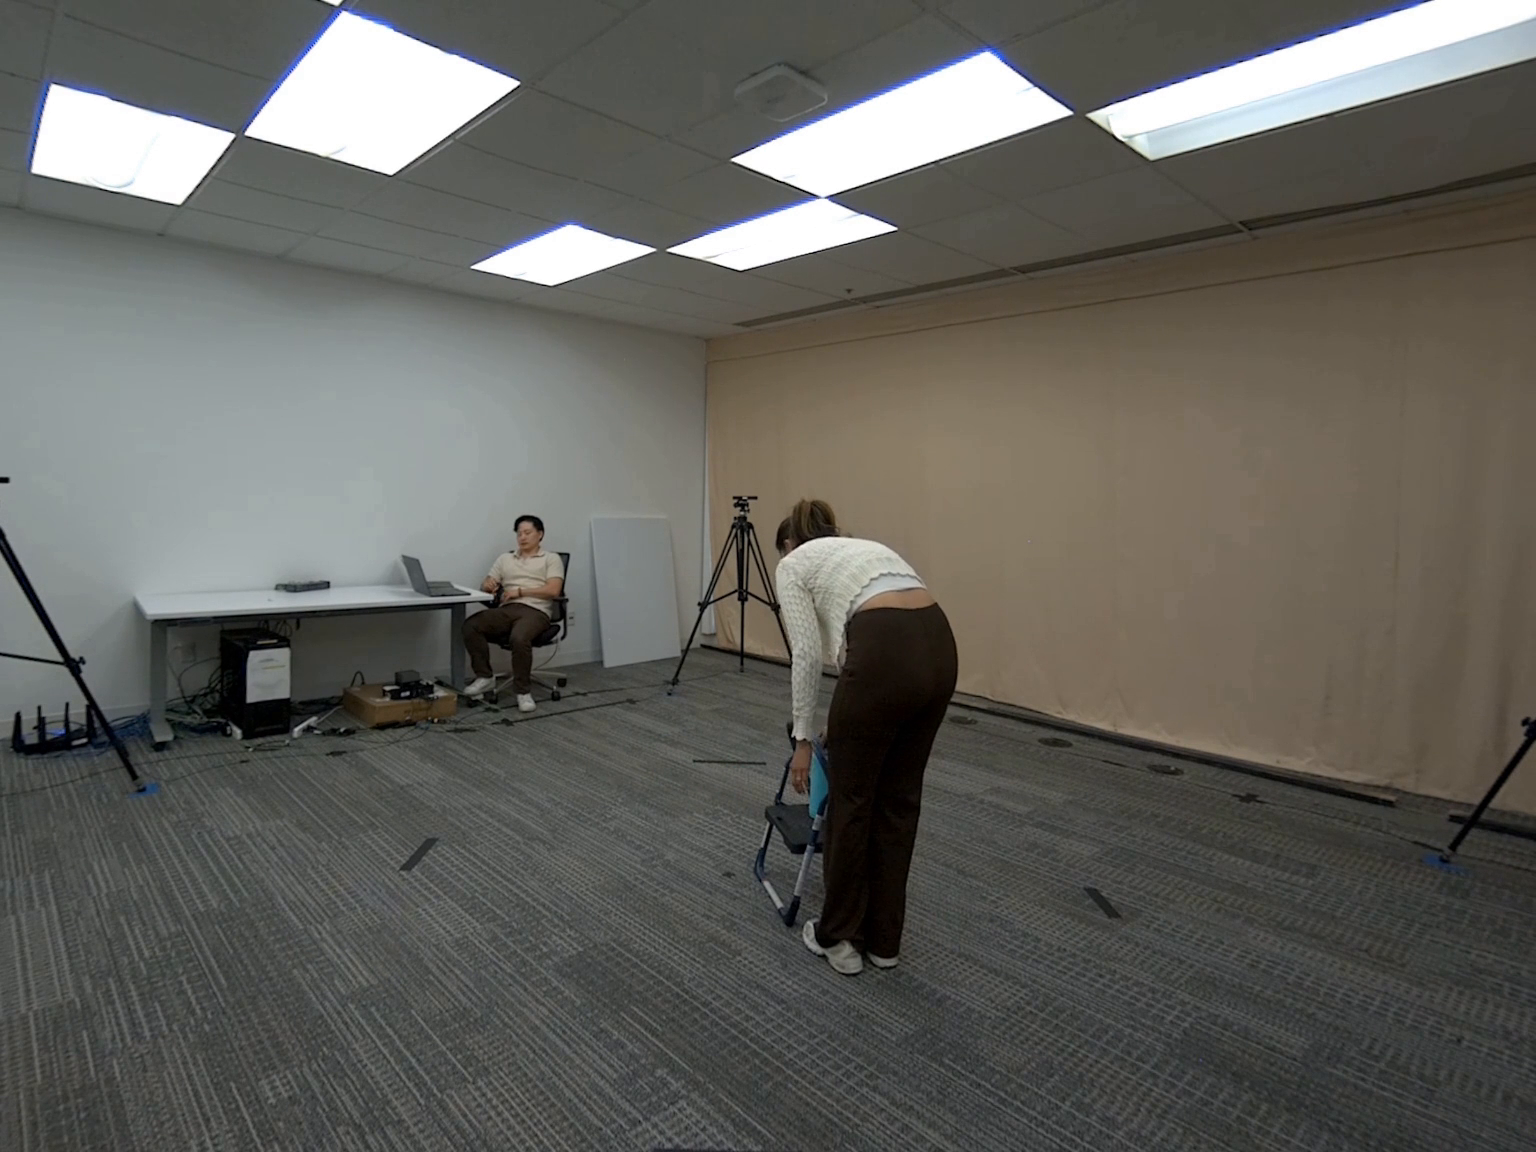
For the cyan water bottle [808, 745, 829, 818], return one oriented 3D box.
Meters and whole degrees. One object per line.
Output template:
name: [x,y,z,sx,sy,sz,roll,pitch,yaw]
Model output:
cyan water bottle: [0.196,0.725,2.997,0.092,0.283,0.092,1,3,-1]
